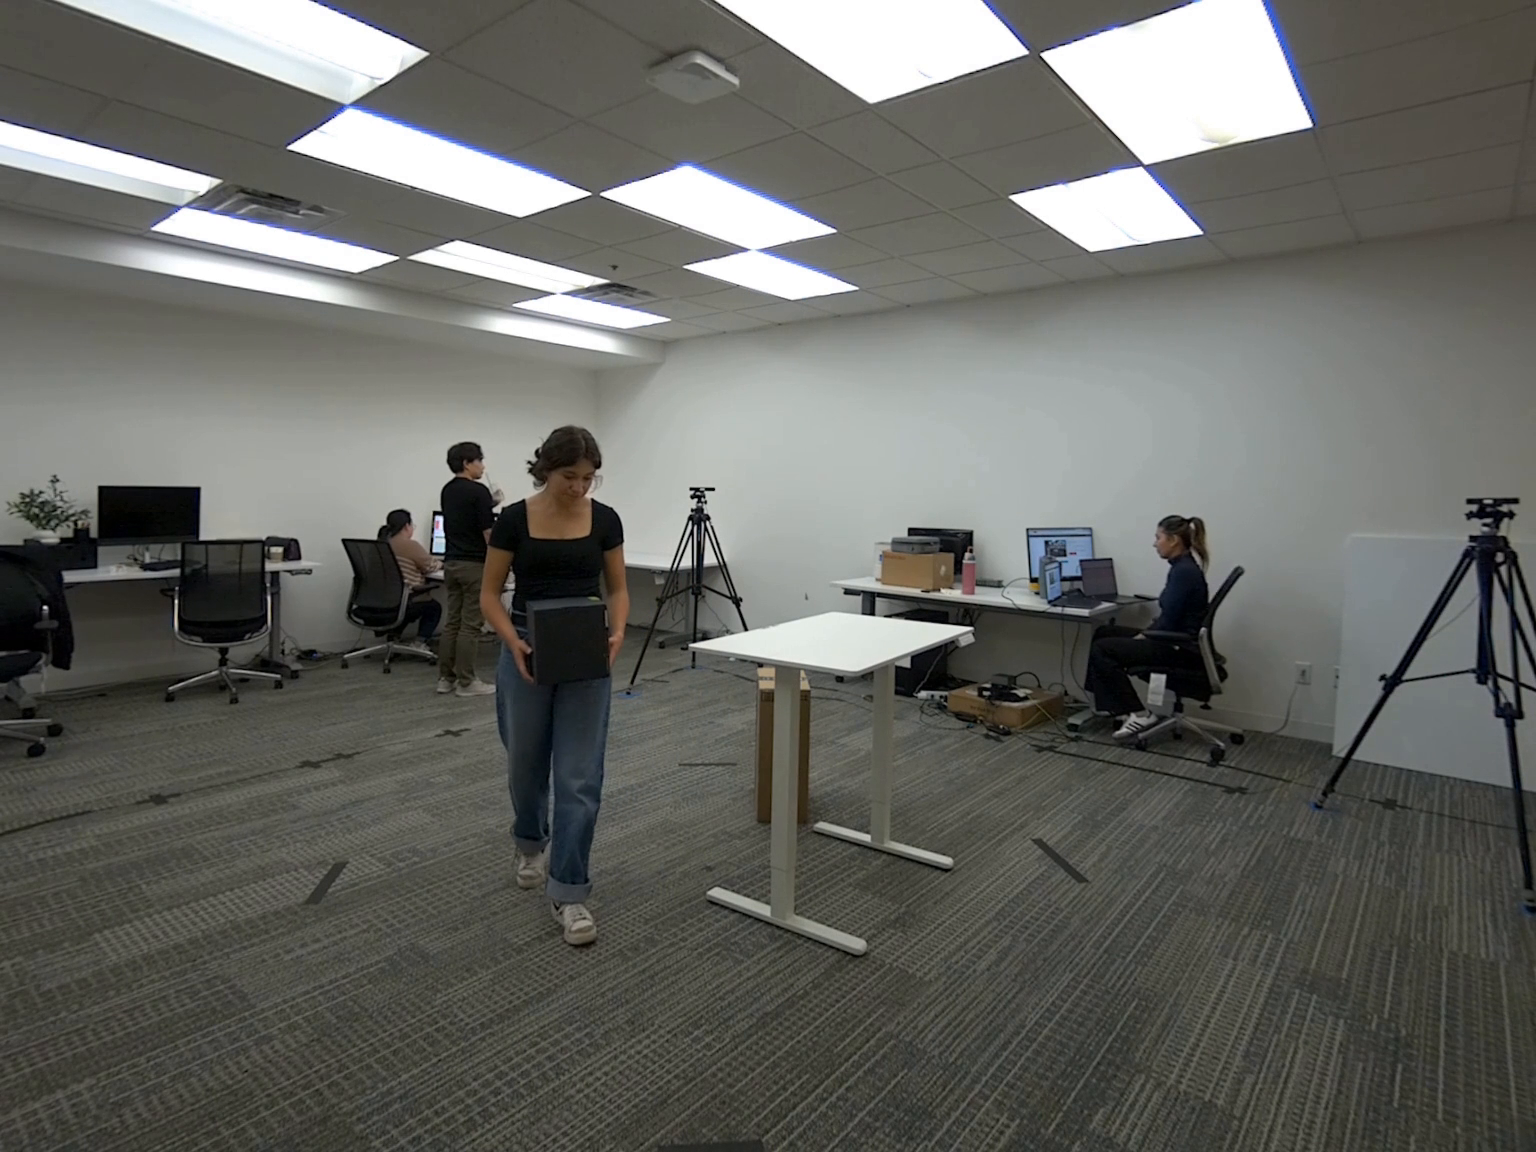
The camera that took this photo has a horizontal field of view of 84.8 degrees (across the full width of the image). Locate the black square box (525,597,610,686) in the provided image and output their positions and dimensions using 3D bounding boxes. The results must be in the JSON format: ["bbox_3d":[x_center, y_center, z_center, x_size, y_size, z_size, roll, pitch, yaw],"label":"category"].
[{"bbox_3d":[-0.620,0.185,2.561,0.212,0.227,0.160,-3,6,-22],"label":"black square box"}]
